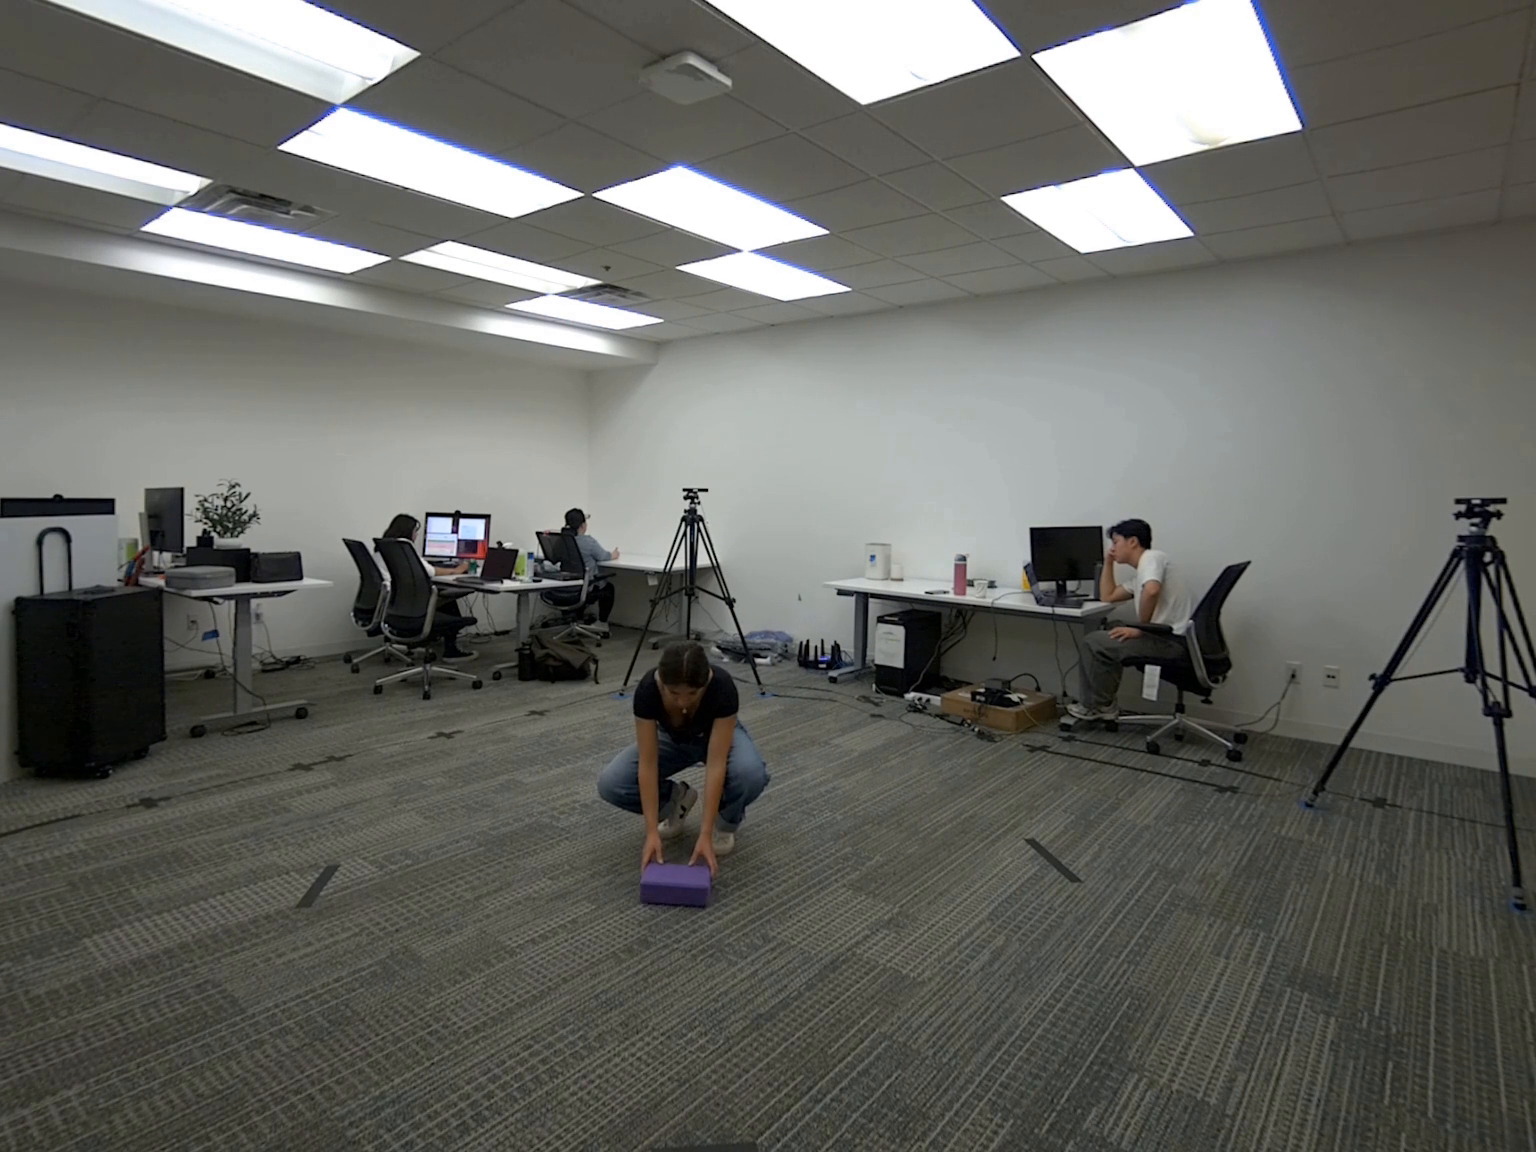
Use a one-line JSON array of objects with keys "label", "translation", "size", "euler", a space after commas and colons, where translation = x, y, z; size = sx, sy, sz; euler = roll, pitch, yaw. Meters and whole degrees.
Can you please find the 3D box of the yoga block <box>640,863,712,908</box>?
[{"label": "yoga block", "translation": [-0.312, 1.037, 2.903], "size": [0.231, 0.076, 0.148], "euler": [2, 6, 7]}]
